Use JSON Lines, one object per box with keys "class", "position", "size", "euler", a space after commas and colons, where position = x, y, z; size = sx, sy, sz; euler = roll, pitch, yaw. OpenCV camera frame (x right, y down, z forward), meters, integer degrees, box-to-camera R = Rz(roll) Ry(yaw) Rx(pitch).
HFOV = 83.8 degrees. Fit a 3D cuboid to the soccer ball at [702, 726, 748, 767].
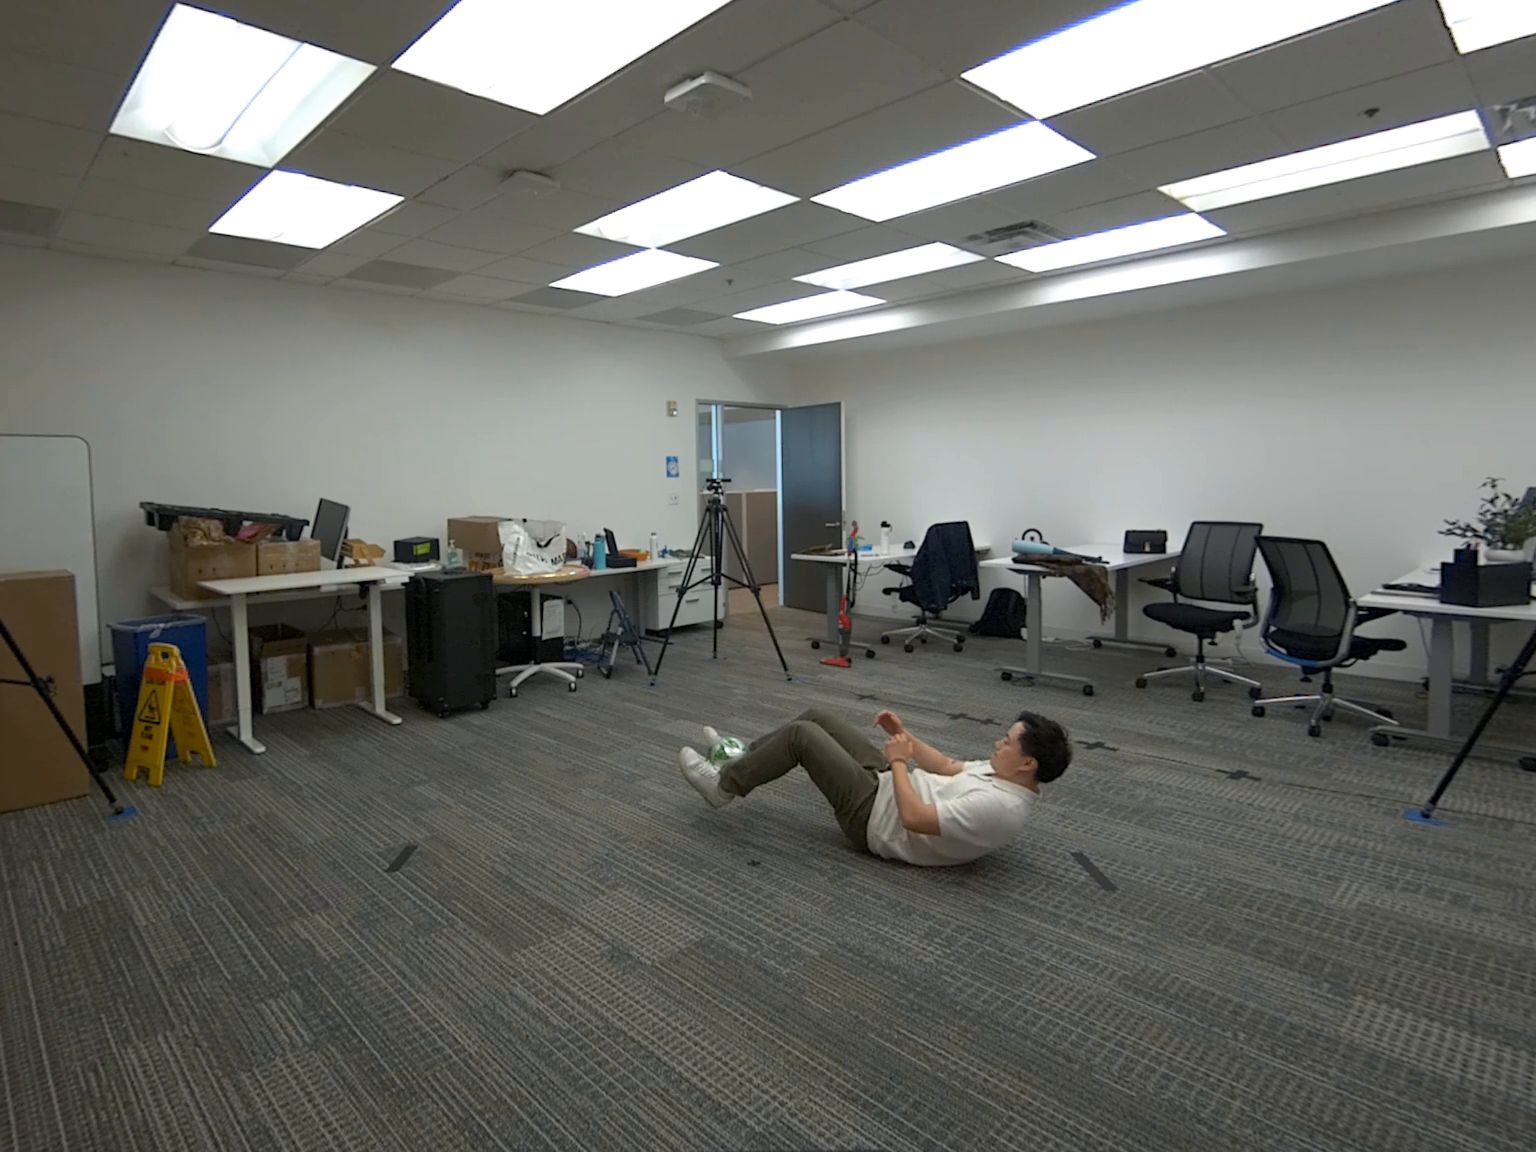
{"class": "soccer ball", "position": [-0.152, 0.754, 3.503], "size": [0.187, 0.187, 0.188], "euler": [-1, 5, -2]}
